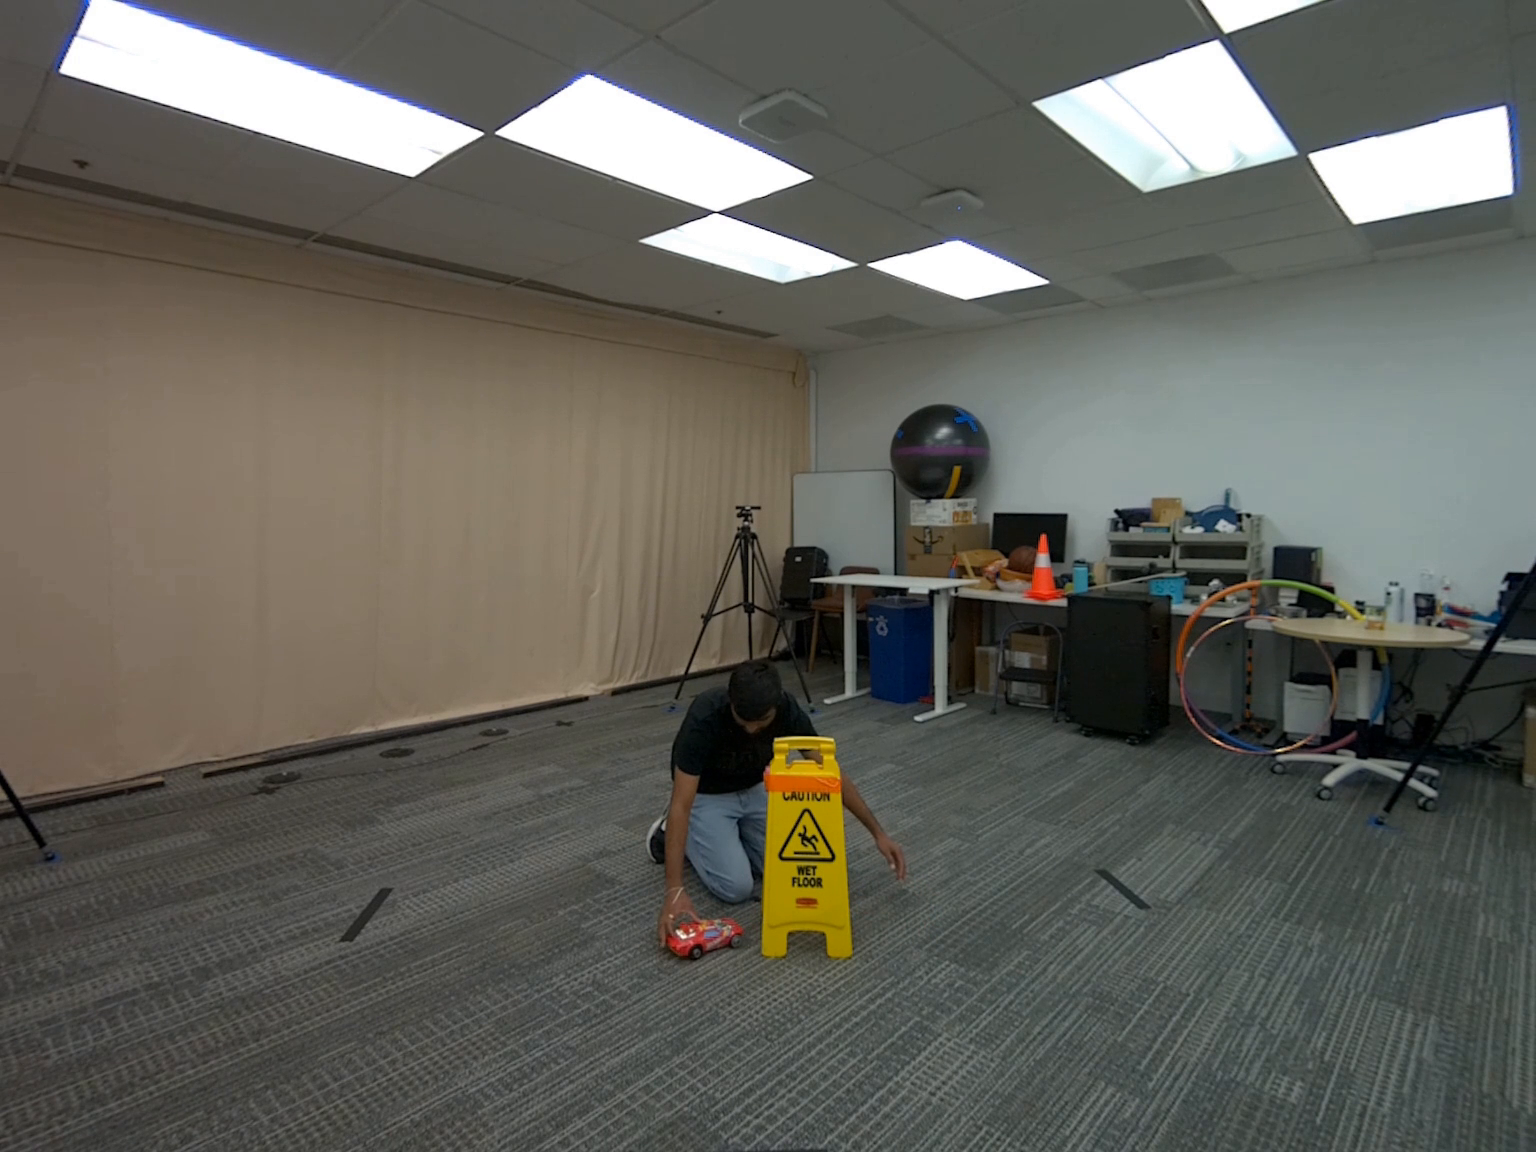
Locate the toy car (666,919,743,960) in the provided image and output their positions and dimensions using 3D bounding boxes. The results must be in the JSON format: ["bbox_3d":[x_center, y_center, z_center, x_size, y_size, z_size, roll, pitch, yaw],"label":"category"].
[{"bbox_3d":[-0.209,1.139,2.659,0.248,0.083,0.134,6,1,-25],"label":"toy car"}]
